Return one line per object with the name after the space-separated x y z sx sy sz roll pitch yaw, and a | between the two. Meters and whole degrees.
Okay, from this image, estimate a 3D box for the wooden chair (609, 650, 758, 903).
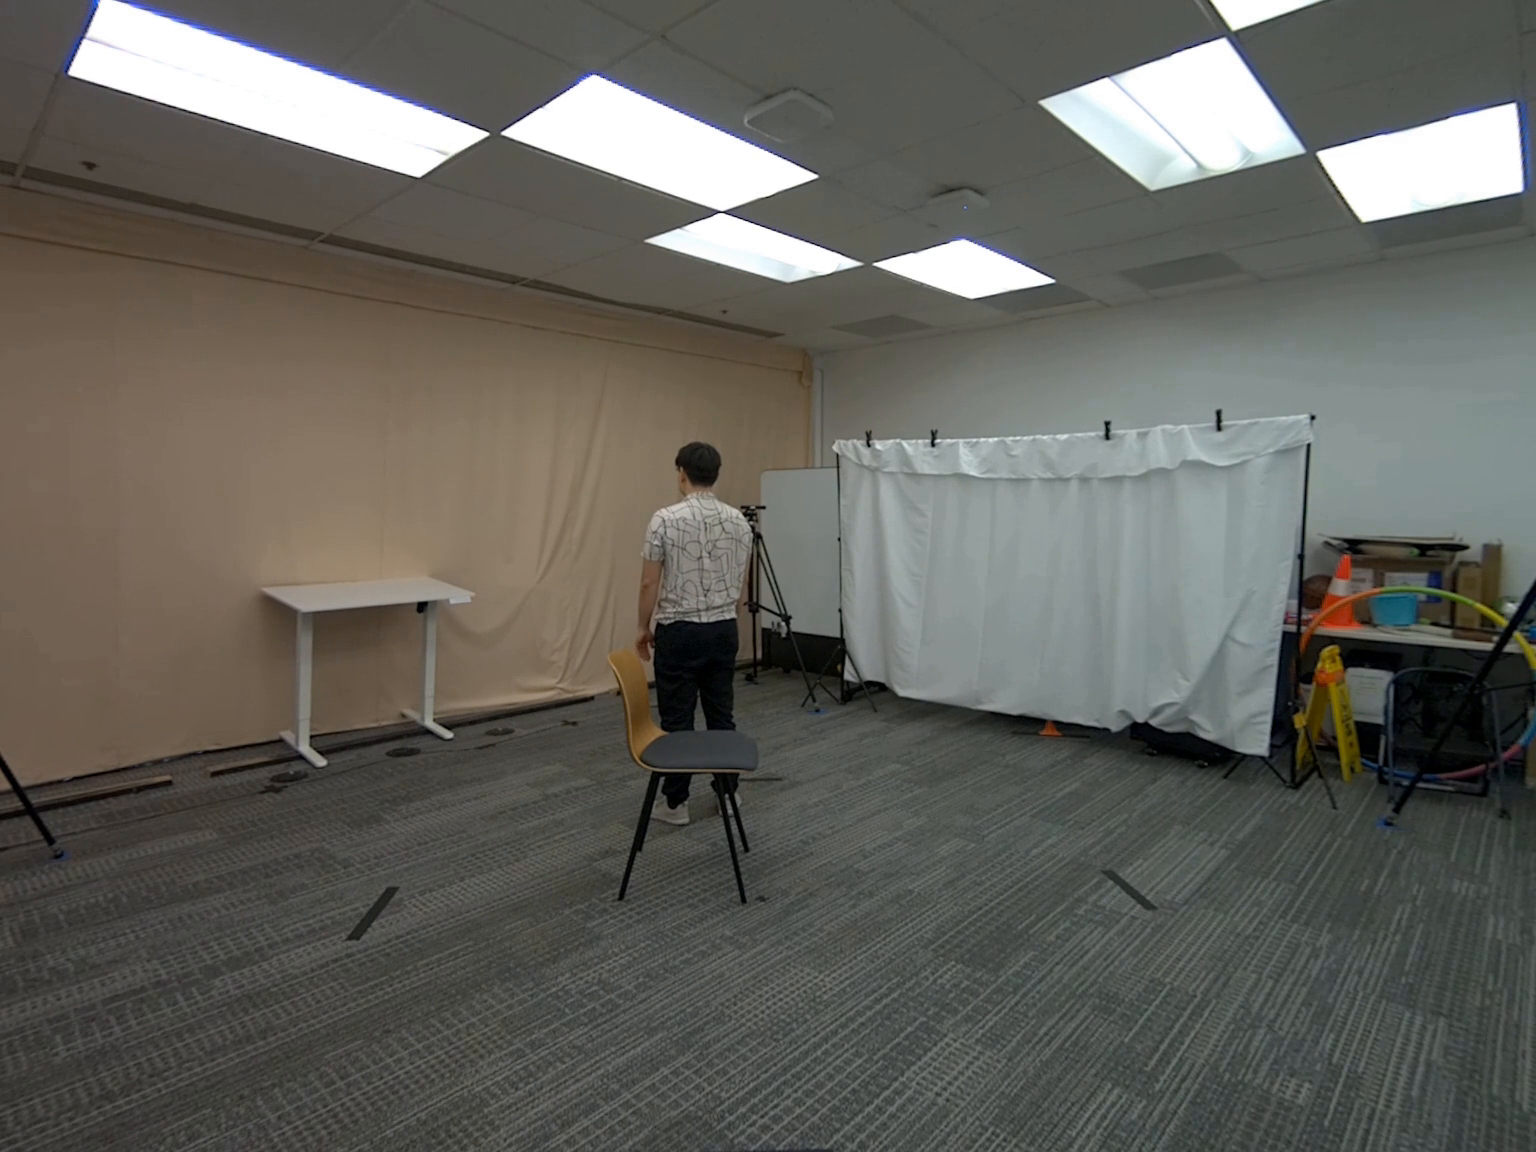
-0.296 0.703 3.157 0.525 0.876 0.477 -5 2 2 | wooden chair
